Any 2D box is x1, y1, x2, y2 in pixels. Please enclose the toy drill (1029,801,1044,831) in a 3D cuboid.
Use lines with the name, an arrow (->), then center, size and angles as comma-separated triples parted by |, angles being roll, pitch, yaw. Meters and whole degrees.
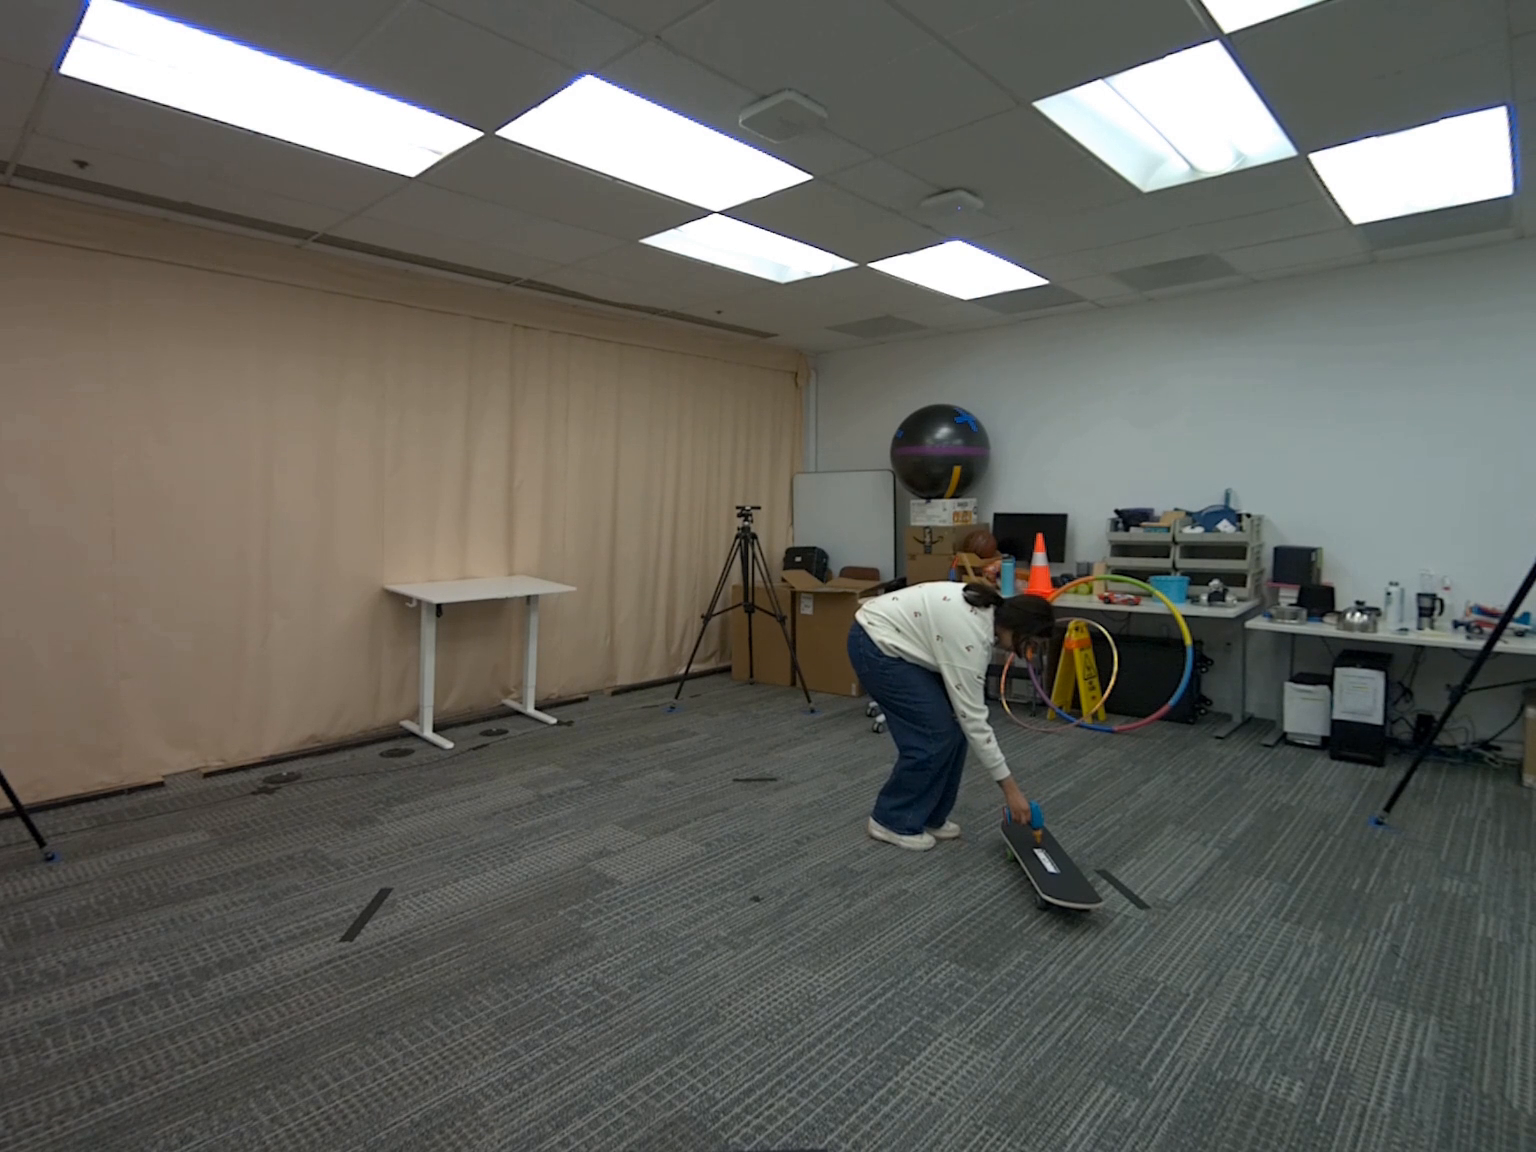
toy drill -> 1.008, 0.962, 3.247 | 0.147, 0.169, 0.061 | -11, 4, 5
